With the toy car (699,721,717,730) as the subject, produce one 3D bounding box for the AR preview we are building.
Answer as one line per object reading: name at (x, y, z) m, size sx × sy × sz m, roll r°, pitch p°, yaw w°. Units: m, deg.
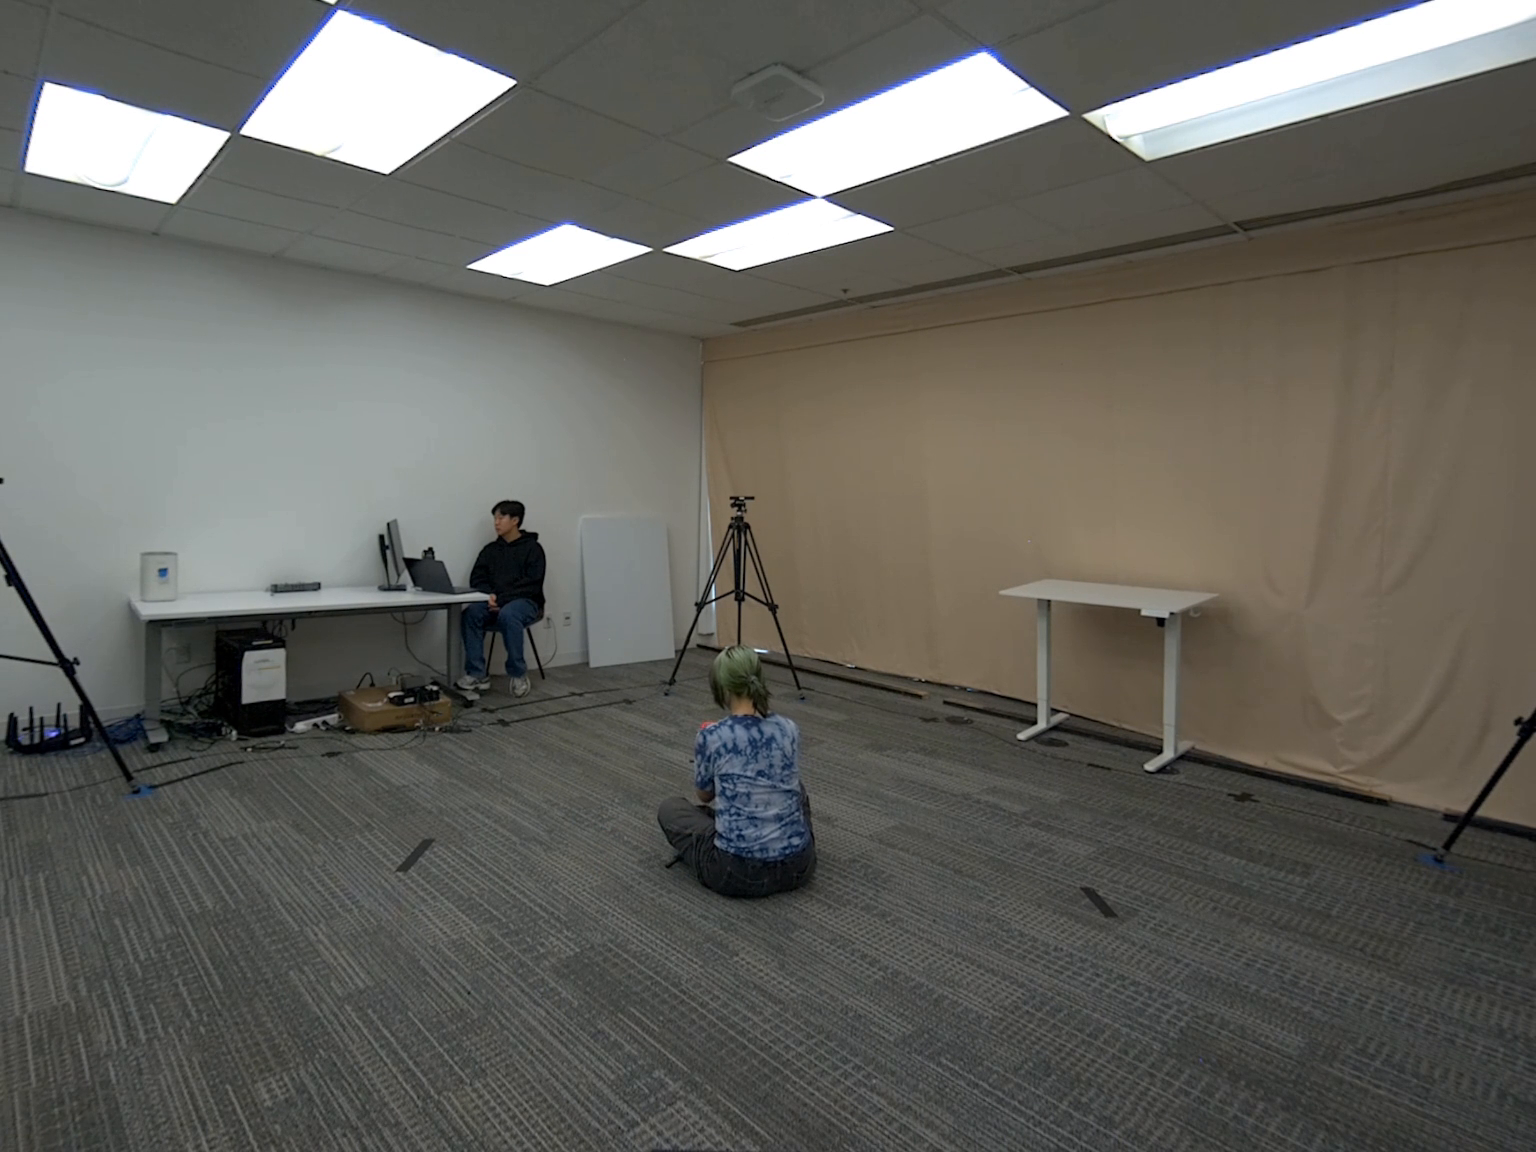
toy car at (-0.222, 0.748, 3.548) m, size 0.128 × 0.082 × 0.262 m, roll 2°, pitch 38°, yaw -18°
